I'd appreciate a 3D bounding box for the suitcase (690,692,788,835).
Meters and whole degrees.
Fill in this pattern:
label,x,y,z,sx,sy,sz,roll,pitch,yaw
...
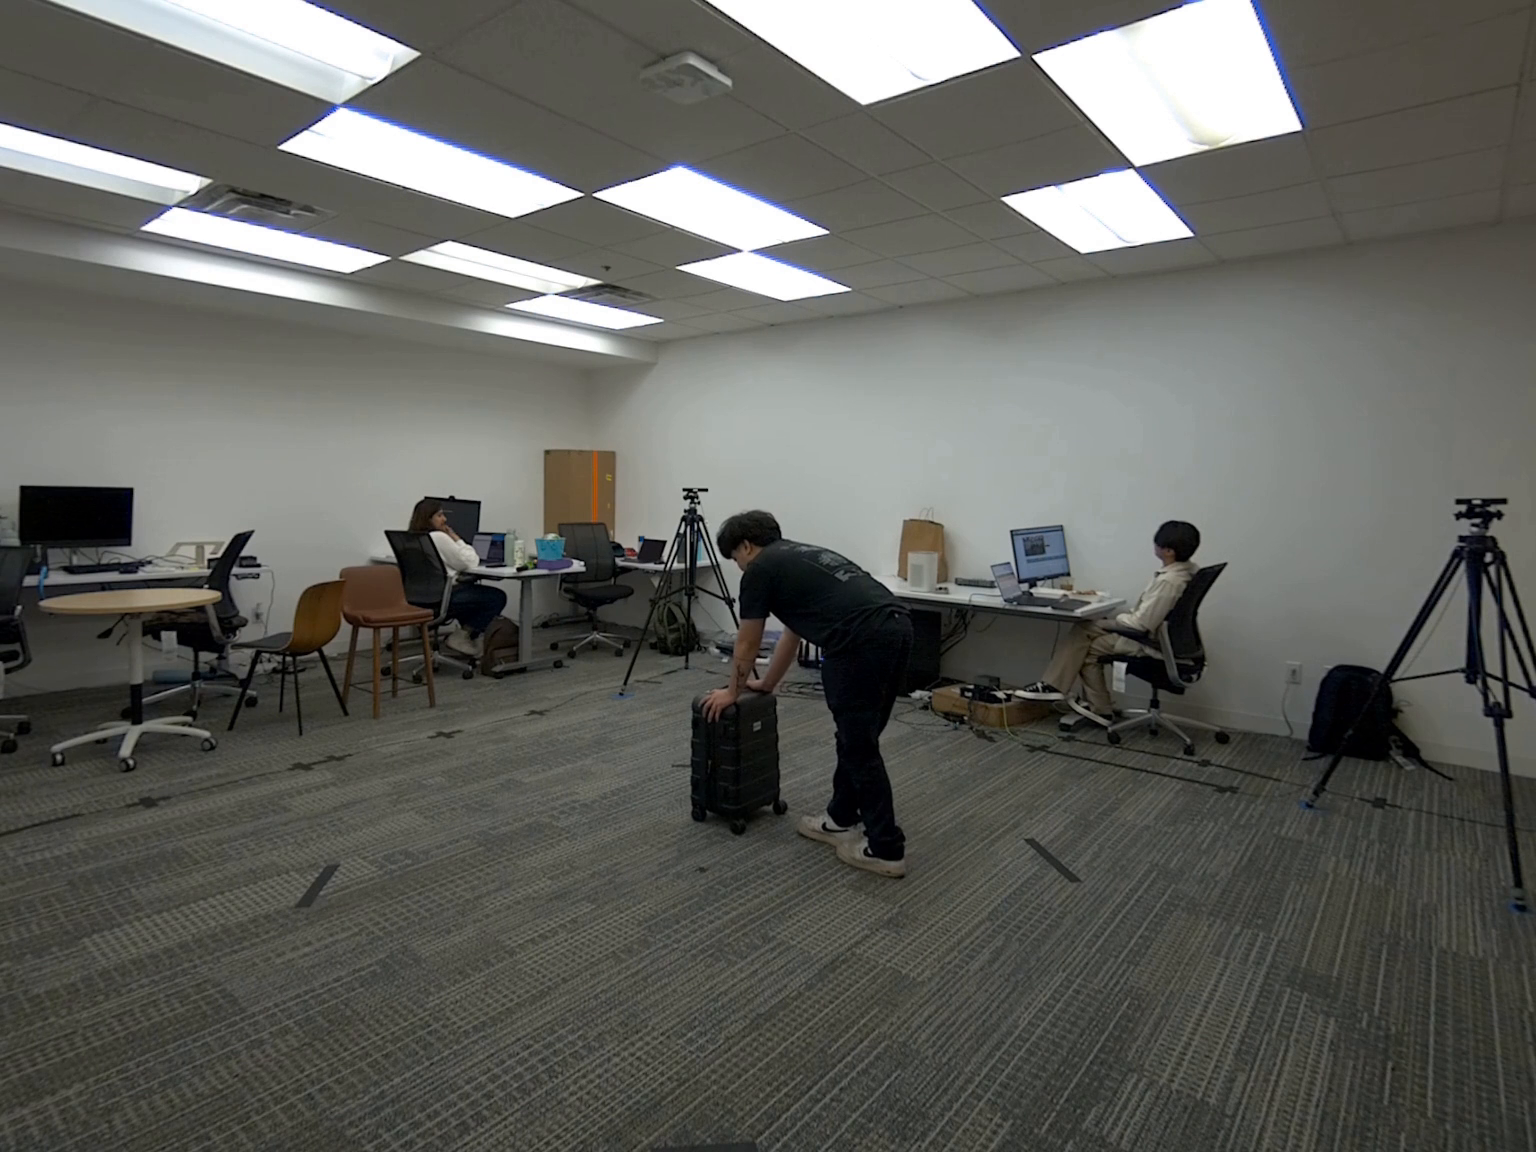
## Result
label,x,y,z,sx,sy,sz,roll,pitch,yaw
suitcase,-0.146,0.749,3.633,0.256,0.548,0.365,0,2,36
